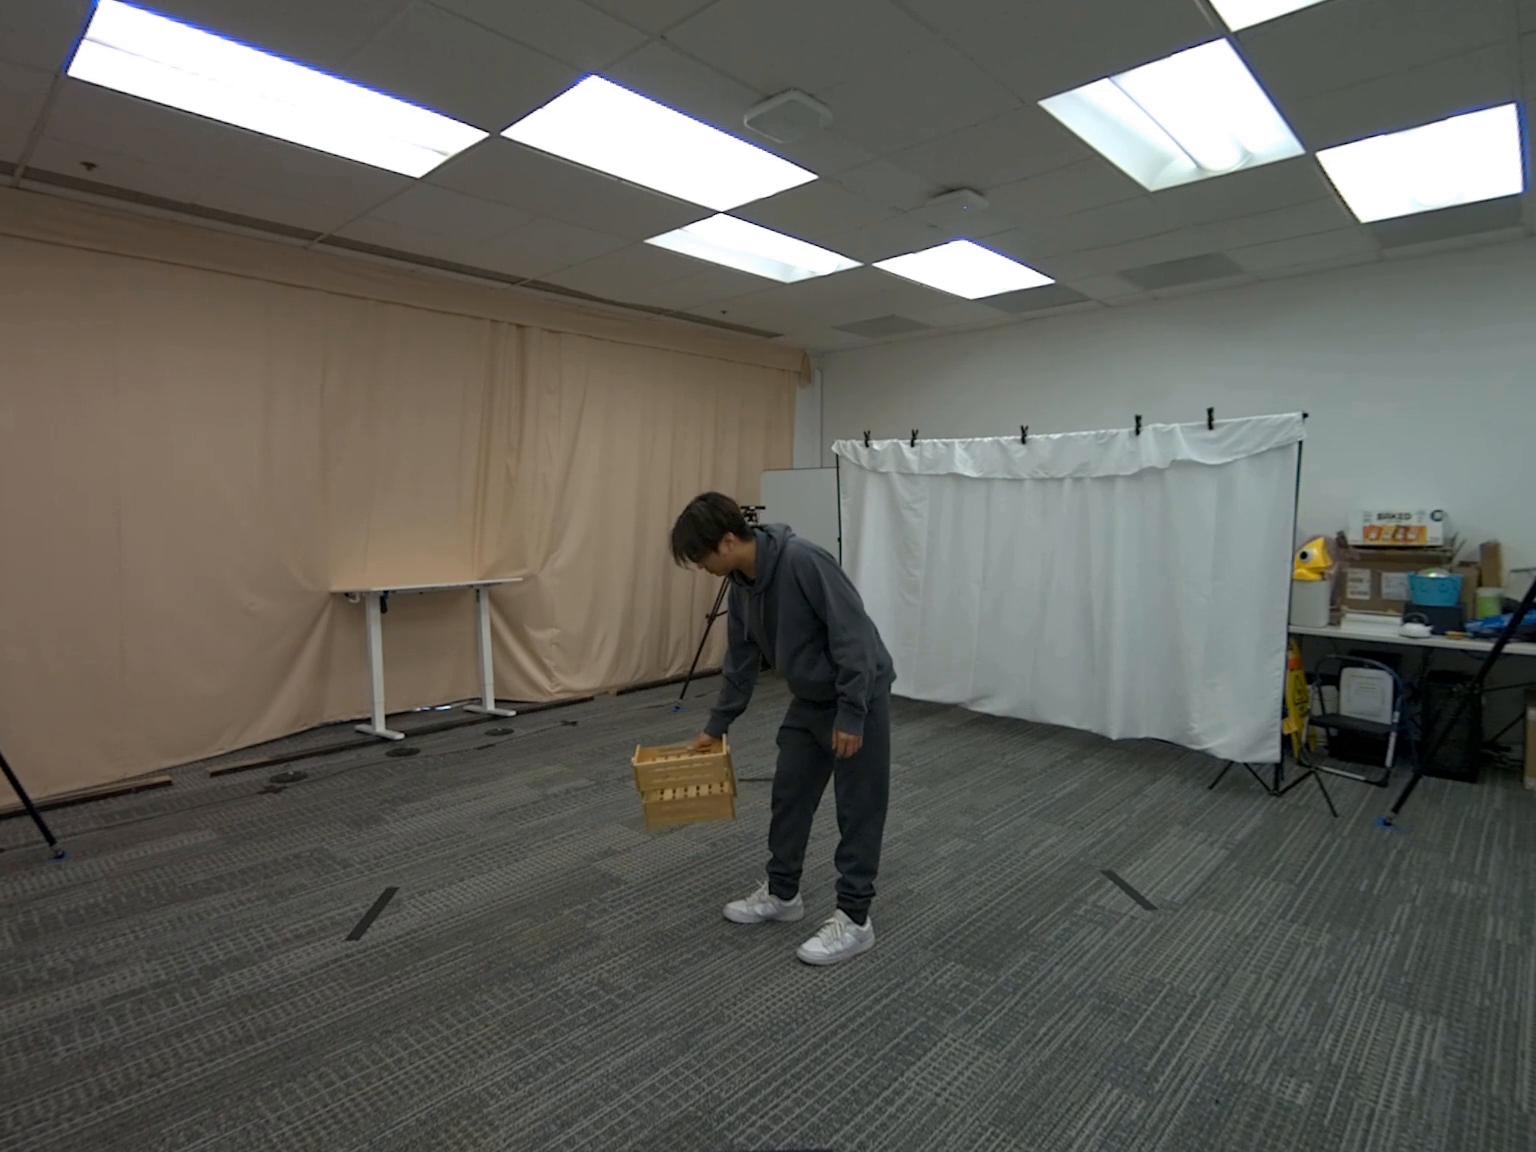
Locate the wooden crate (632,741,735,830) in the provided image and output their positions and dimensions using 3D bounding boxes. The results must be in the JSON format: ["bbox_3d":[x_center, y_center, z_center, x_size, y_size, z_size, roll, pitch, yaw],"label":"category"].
[{"bbox_3d":[-0.280,0.677,2.877,0.324,0.270,0.305,-7,14,-1],"label":"wooden crate"}]
